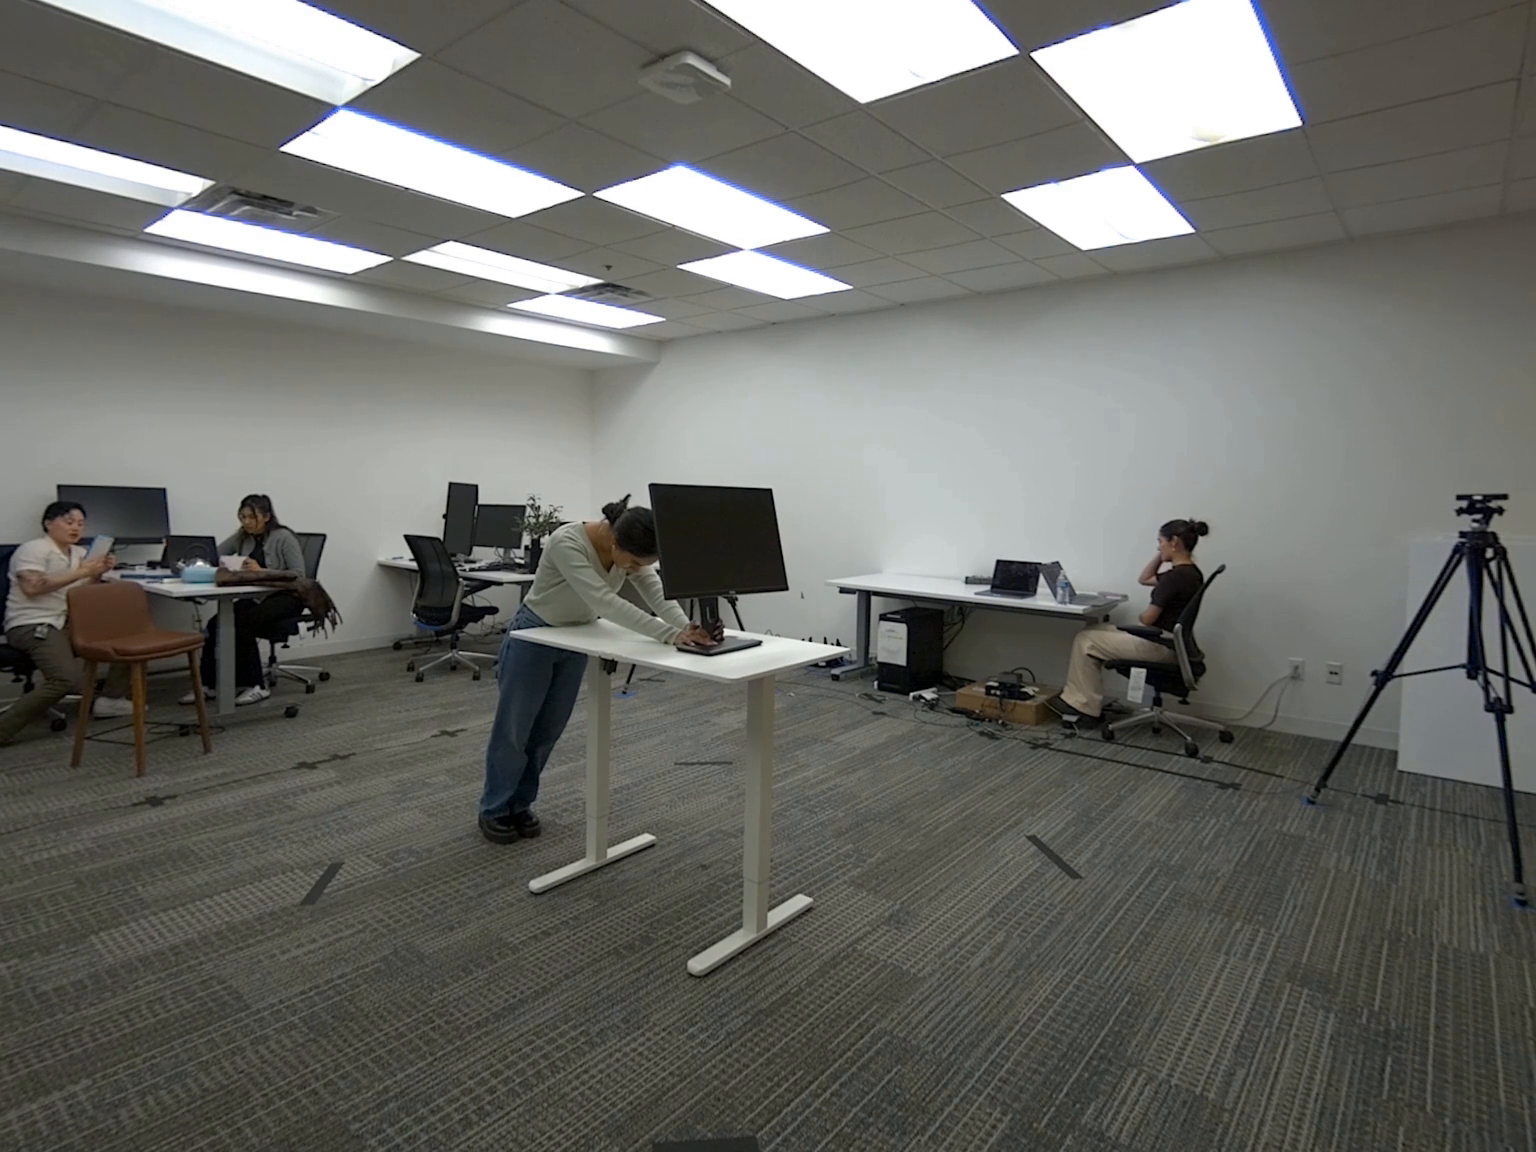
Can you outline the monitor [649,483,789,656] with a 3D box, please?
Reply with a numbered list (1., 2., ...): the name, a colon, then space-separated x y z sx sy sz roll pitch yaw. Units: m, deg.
1. monitor: -0.174 -0.028 2.704 0.193 0.522 0.522 1 2 42
